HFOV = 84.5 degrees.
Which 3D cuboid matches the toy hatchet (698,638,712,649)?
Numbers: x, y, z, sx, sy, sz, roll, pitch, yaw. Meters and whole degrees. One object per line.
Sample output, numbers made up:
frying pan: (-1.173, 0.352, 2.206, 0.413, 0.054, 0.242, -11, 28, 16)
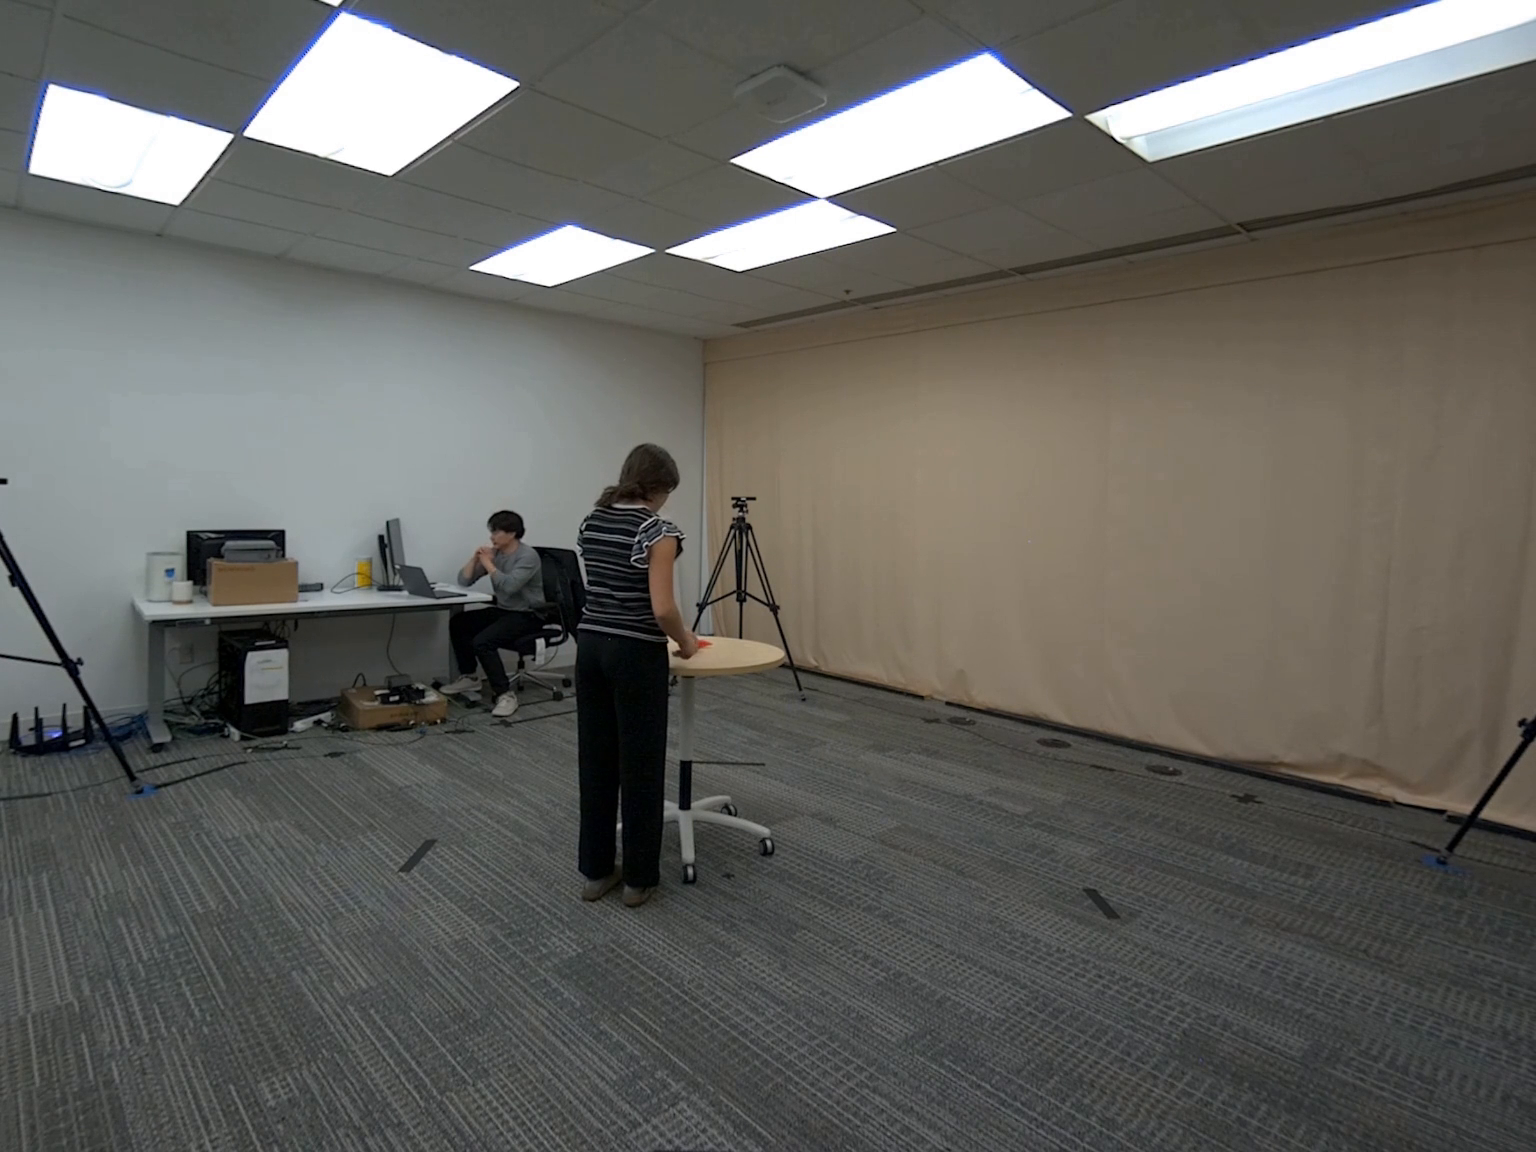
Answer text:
toy hatchet: (-0.352, 0.286, 3.338, 0.133, 0.029, 0.266, 6, 7, 24)
